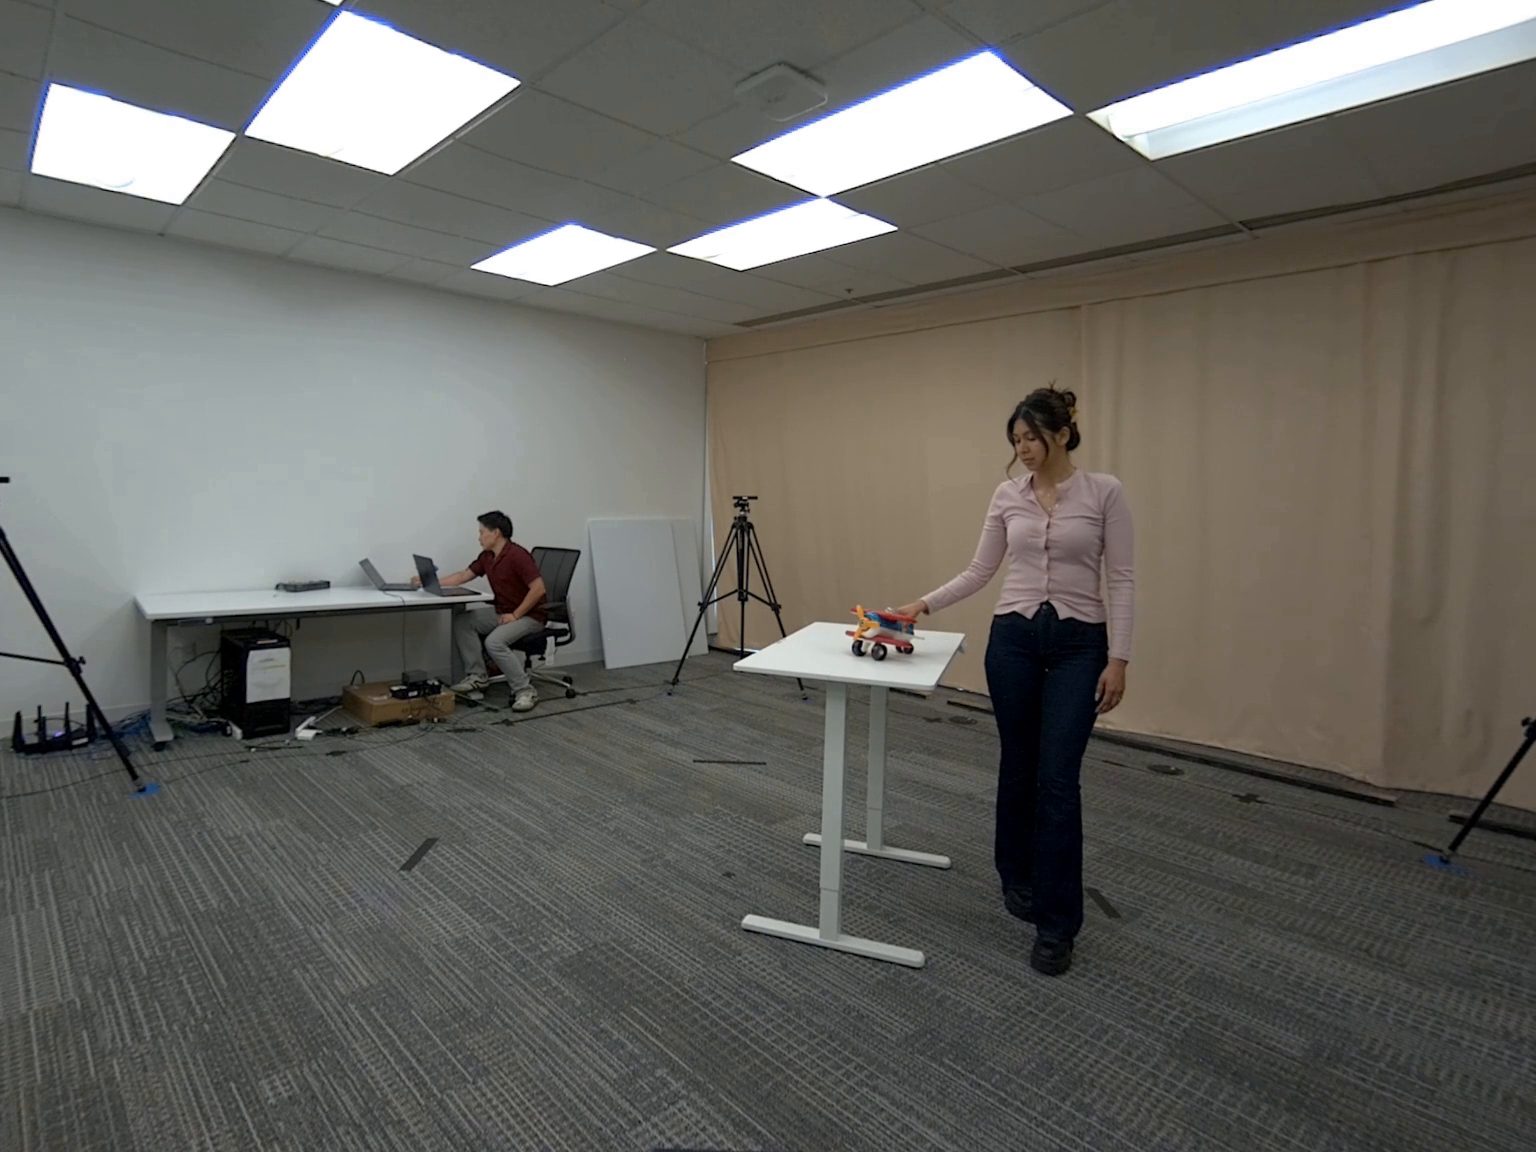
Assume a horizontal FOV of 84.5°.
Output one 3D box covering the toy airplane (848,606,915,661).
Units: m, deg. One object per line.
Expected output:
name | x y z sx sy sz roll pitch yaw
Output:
toy airplane | 0.377 0.188 2.788 0.256 0.156 0.255 6 7 24
